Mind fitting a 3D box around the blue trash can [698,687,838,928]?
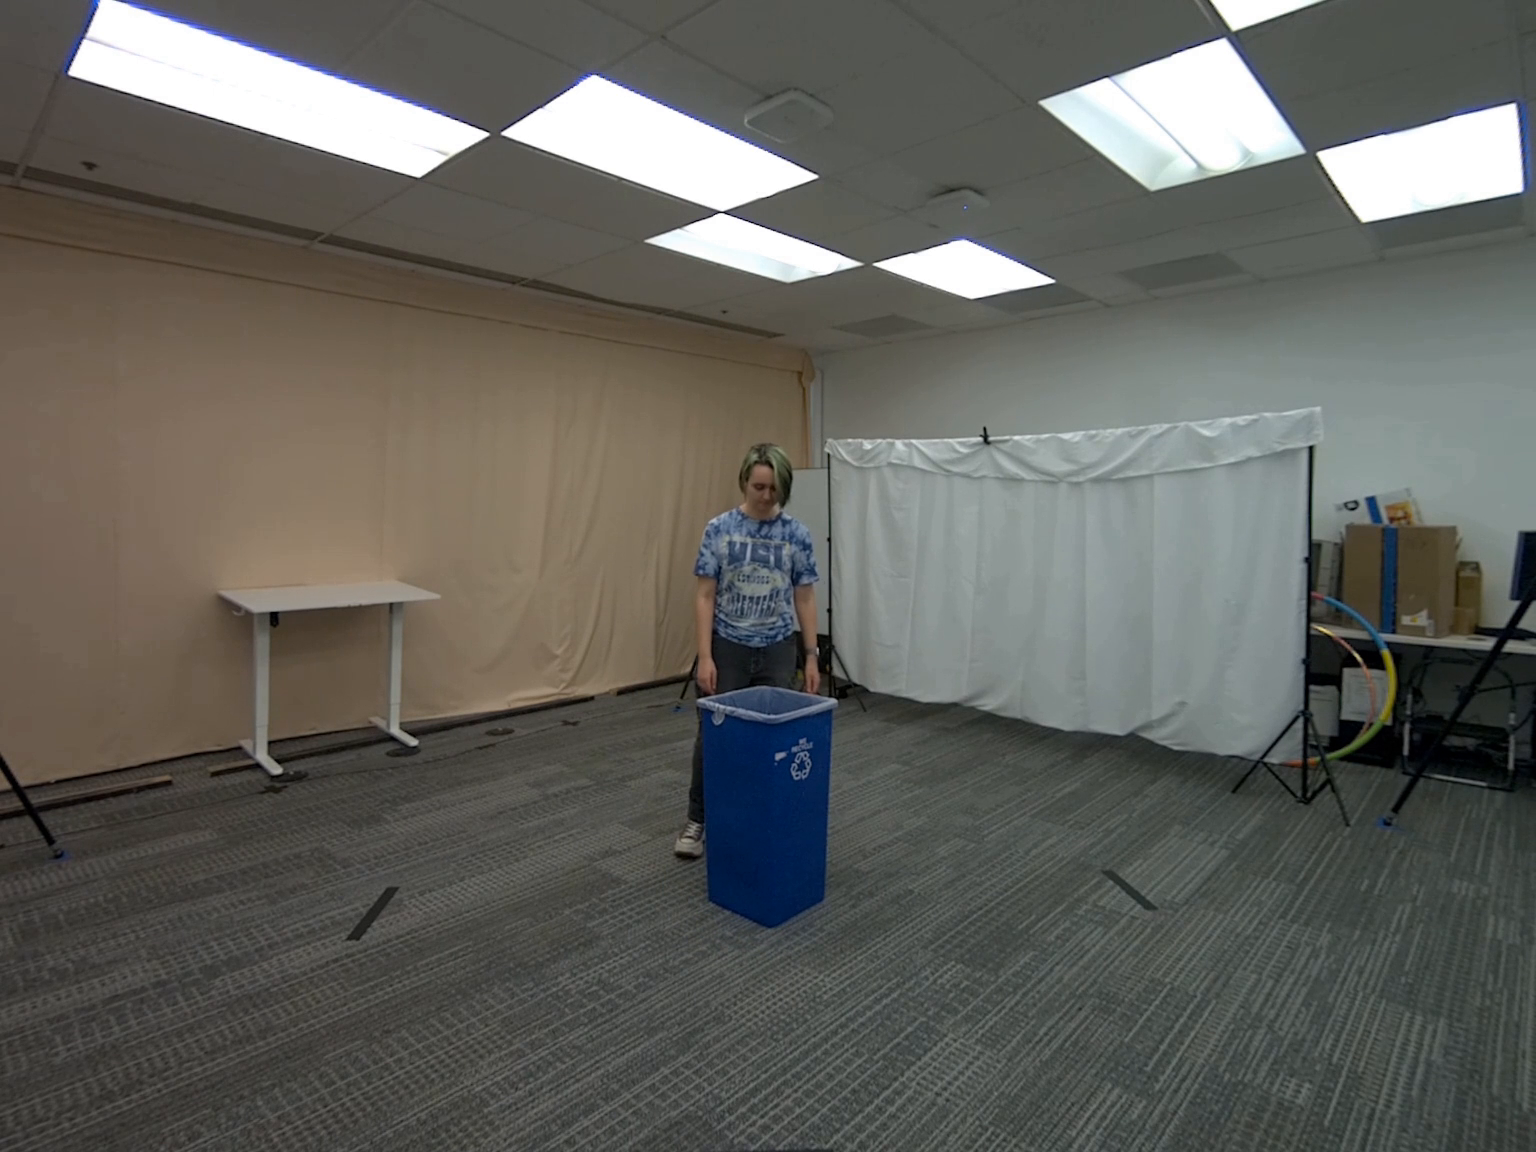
[{"bbox_3d":[0.003,0.788,2.963,0.391,0.712,0.362,4,5,43],"label":"blue trash can"}]
